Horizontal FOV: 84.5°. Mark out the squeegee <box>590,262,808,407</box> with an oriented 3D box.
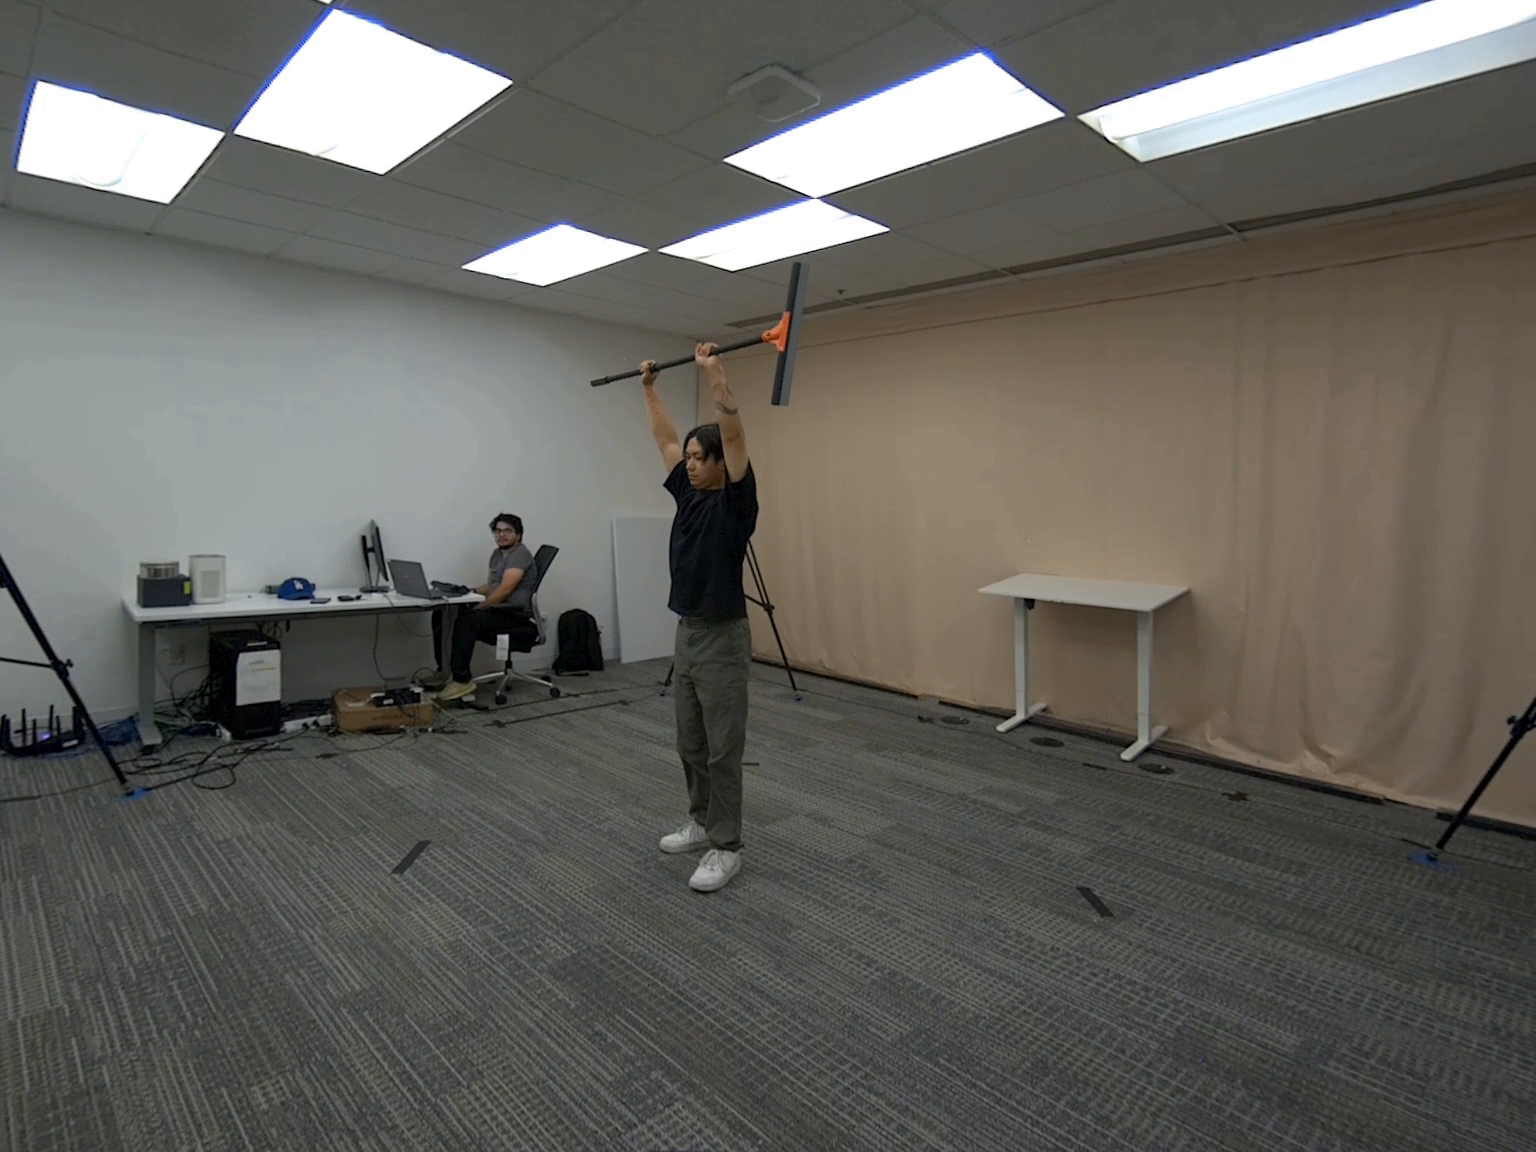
[{"bbox_3d":[-0.370,-0.791,3.139,0.051,0.437,1.575,8,0,-35],"label":"squeegee"}]
